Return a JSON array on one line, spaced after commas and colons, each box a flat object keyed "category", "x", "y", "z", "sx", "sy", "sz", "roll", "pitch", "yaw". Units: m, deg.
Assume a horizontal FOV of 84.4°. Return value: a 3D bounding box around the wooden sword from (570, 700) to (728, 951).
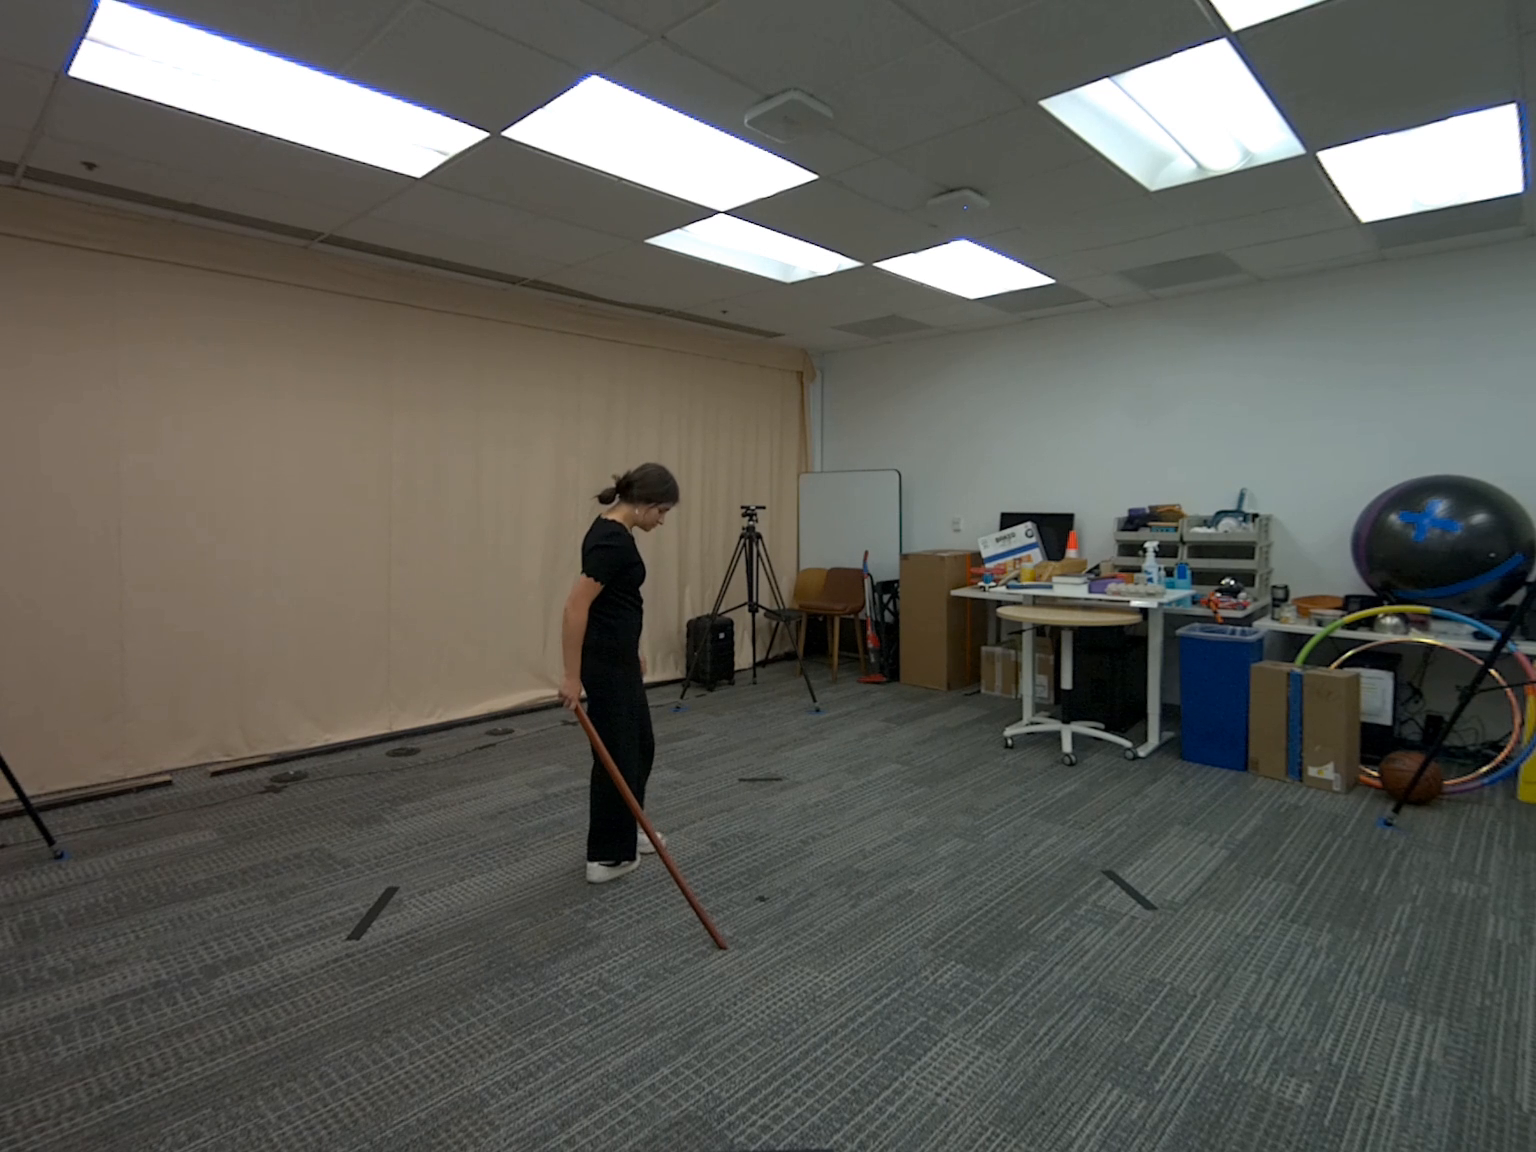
[{"category": "wooden sword", "x": -0.428, "y": 0.789, "z": 2.821, "sx": 0.023, "sy": 1.048, "sz": 0.051, "roll": -13, "pitch": -33, "yaw": -51}]
